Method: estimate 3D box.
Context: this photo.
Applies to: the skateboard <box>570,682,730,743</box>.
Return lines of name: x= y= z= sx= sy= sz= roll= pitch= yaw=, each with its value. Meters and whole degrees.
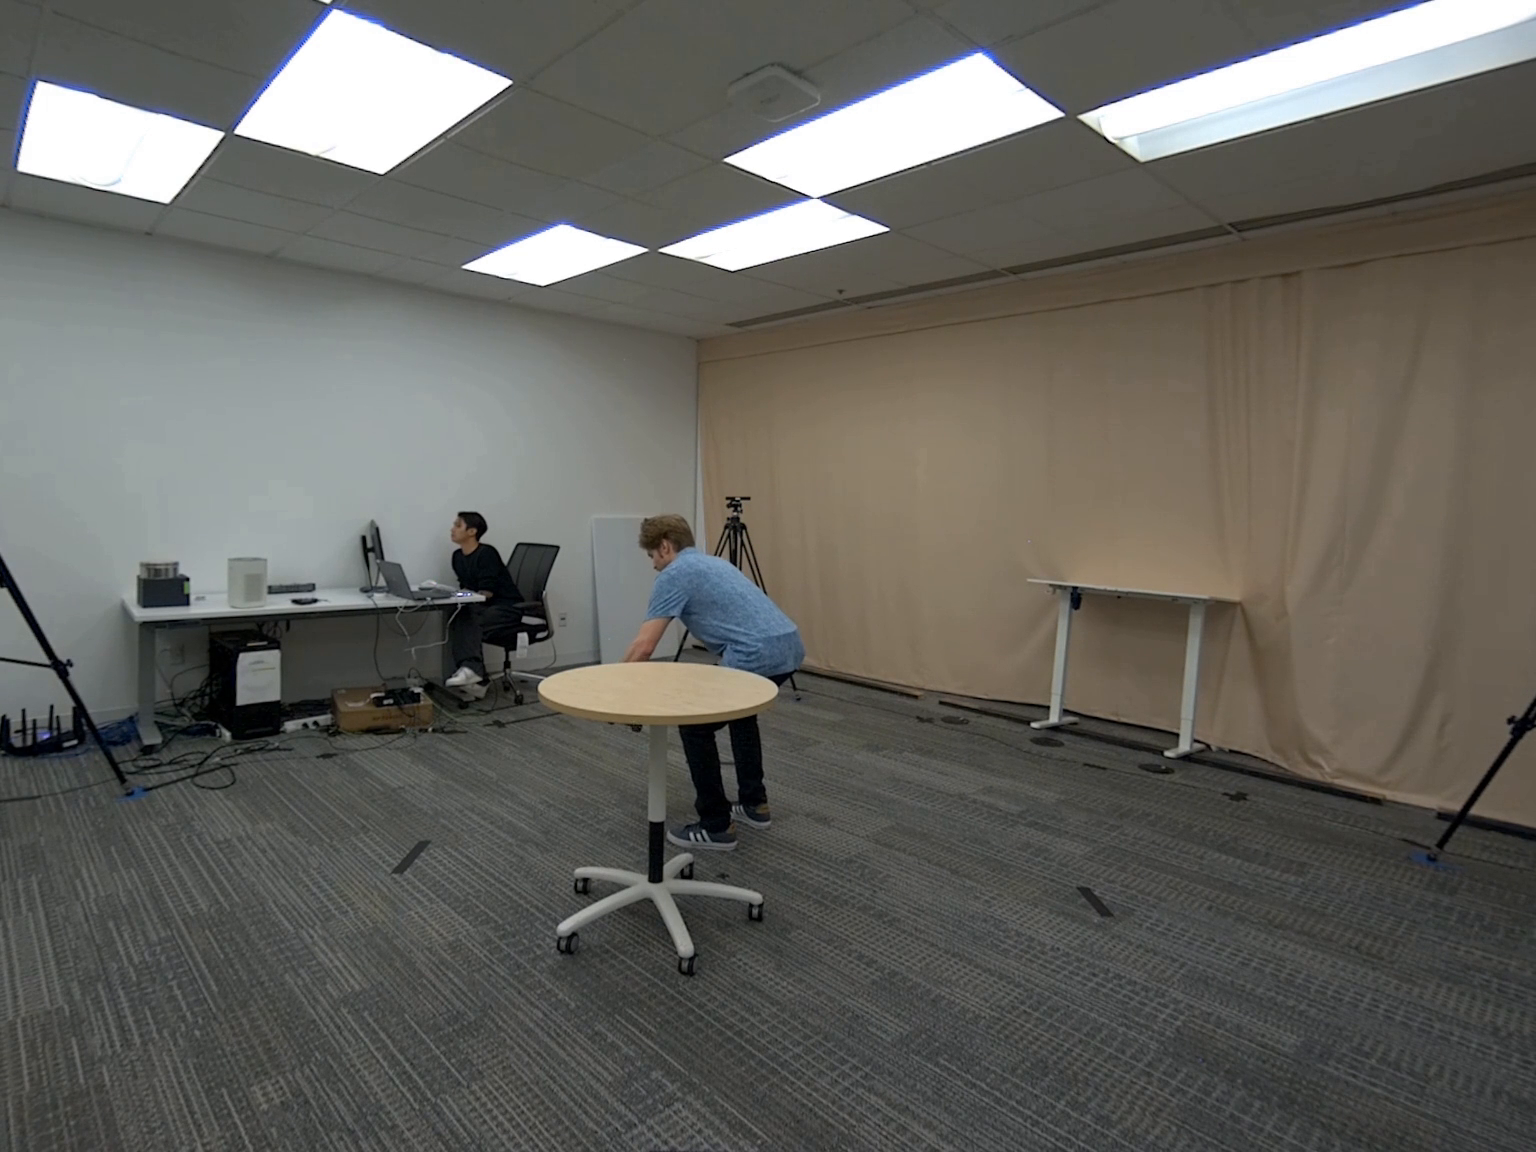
skateboard: x=-0.491 y=0.576 z=3.668 sx=0.198 sy=0.110 sz=0.767 roll=5 pitch=4 yaw=37
